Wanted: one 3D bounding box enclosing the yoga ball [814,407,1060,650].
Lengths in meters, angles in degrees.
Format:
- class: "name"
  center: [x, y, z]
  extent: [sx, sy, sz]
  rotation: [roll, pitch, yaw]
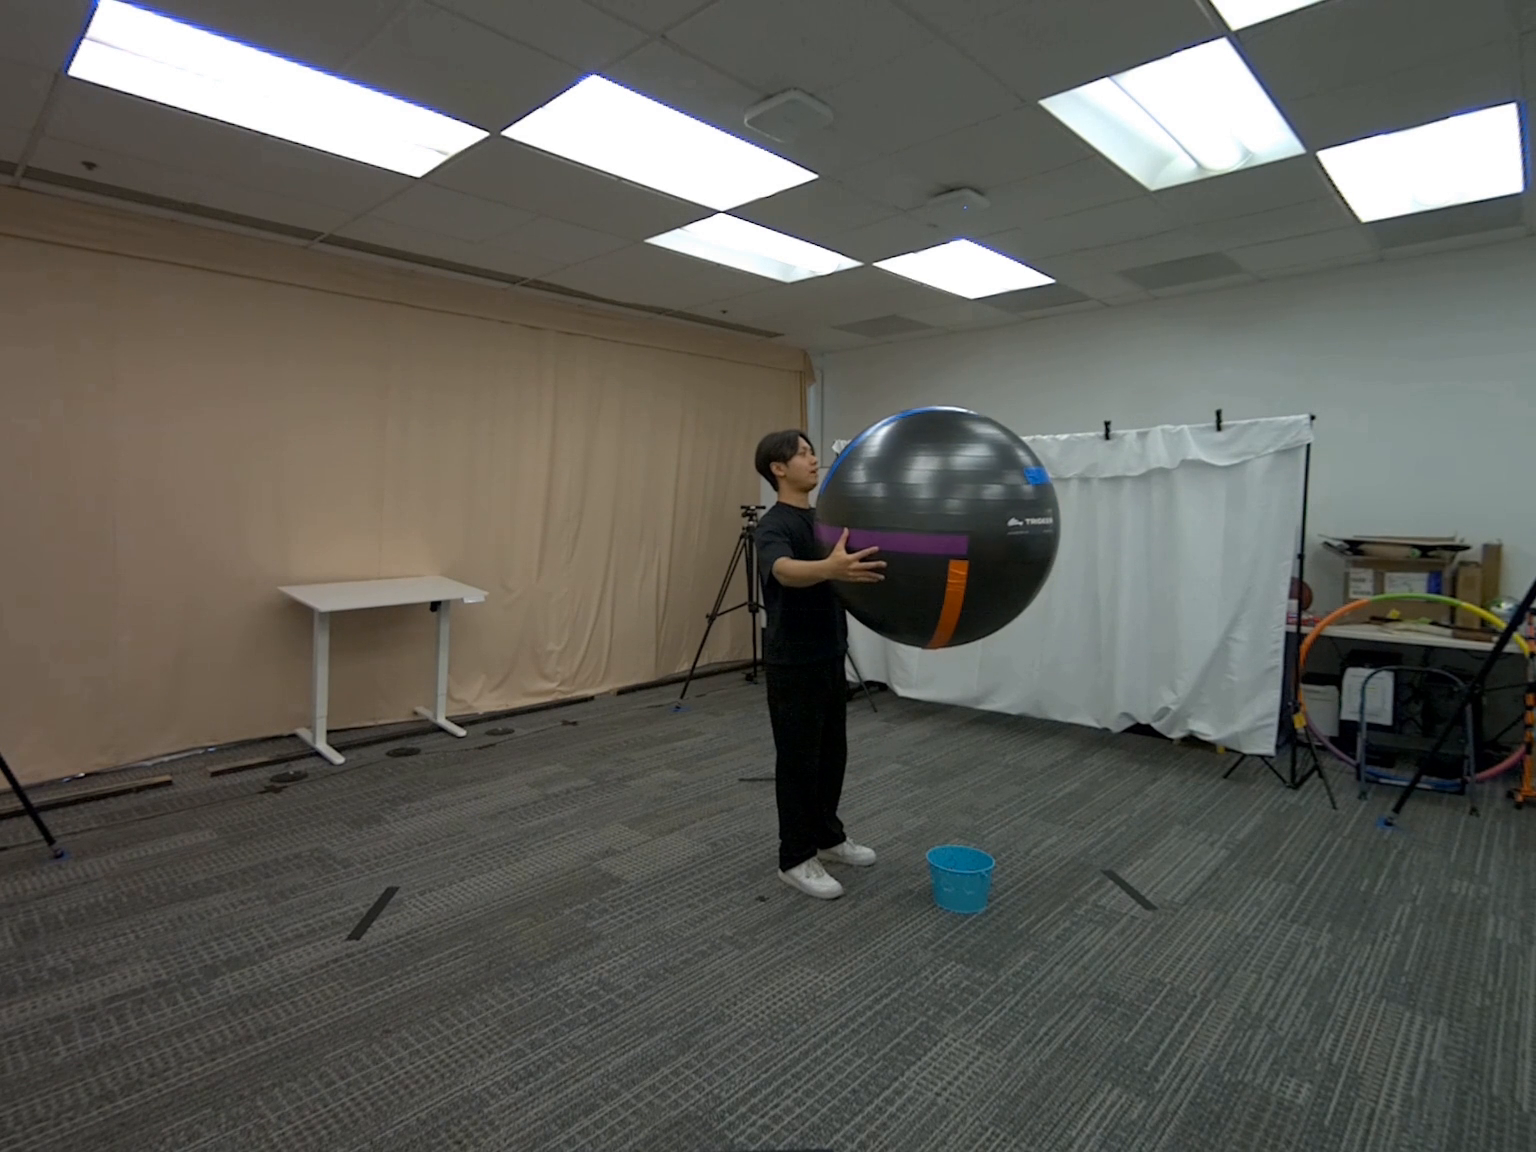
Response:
- class: "yoga ball"
  center: [0.548, -0.148, 2.679]
  extent: [0.757, 0.756, 0.760]
  rotation: [0, 4, -2]
